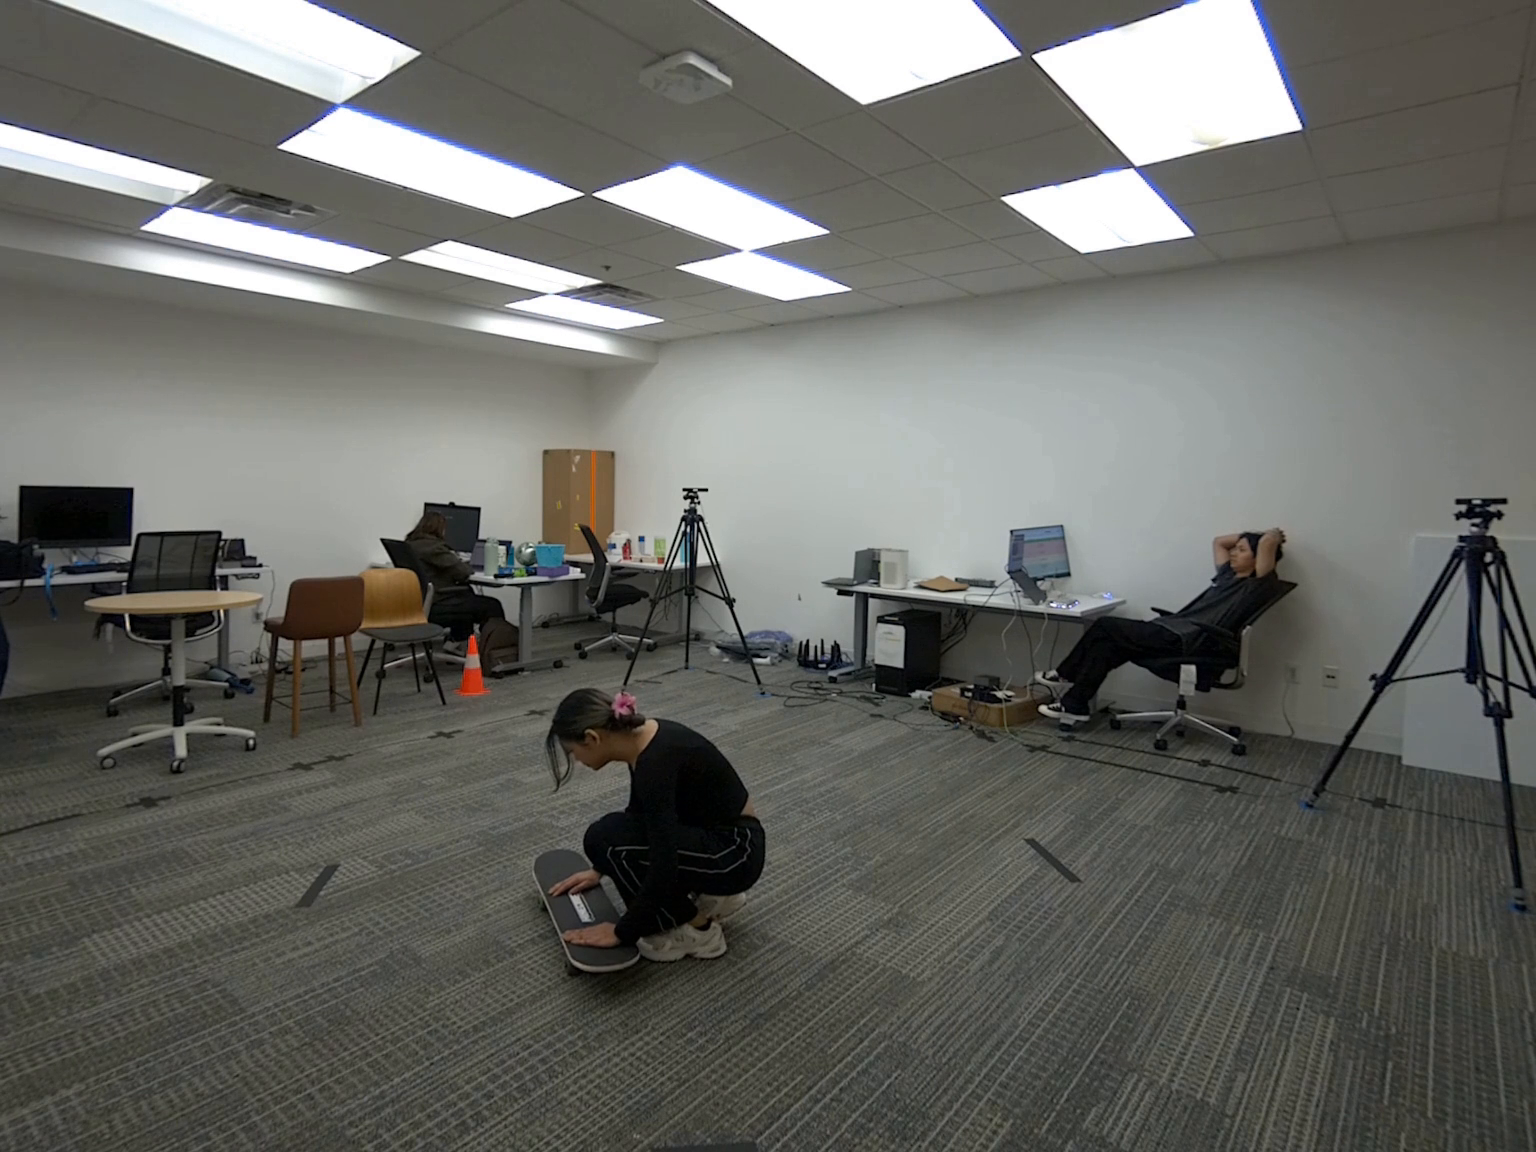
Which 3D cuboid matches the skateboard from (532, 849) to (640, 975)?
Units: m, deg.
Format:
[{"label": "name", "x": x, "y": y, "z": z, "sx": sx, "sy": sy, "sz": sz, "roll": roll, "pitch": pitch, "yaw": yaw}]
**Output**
[{"label": "skateboard", "x": -0.592, "y": 1.052, "z": 2.650, "sx": 0.189, "sy": 0.110, "sz": 0.807, "roll": -1, "pitch": 6, "yaw": -25}]
